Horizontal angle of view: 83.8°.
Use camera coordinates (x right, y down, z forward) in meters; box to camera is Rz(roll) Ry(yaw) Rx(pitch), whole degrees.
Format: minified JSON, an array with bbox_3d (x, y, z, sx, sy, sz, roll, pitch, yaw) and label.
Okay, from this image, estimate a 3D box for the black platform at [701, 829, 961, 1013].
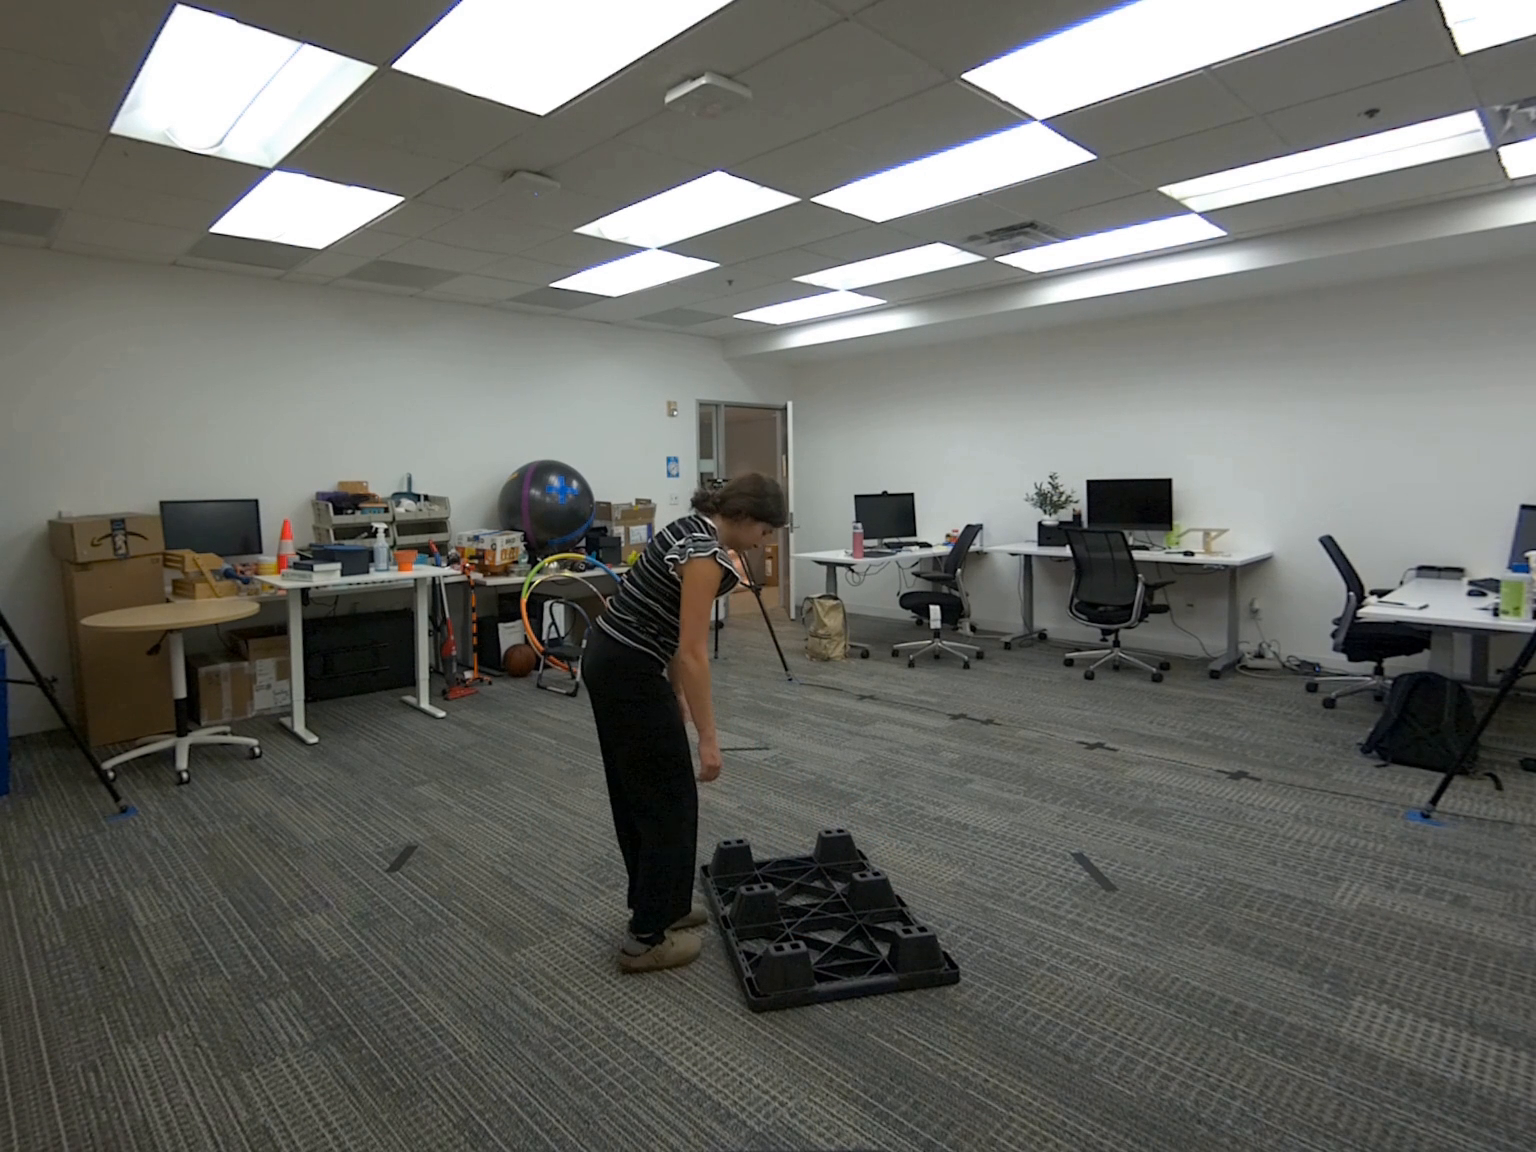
[{"bbox_3d":[0.153,1.022,2.677,0.598,0.142,0.820,-3,7,-14],"label":"black platform"}]
